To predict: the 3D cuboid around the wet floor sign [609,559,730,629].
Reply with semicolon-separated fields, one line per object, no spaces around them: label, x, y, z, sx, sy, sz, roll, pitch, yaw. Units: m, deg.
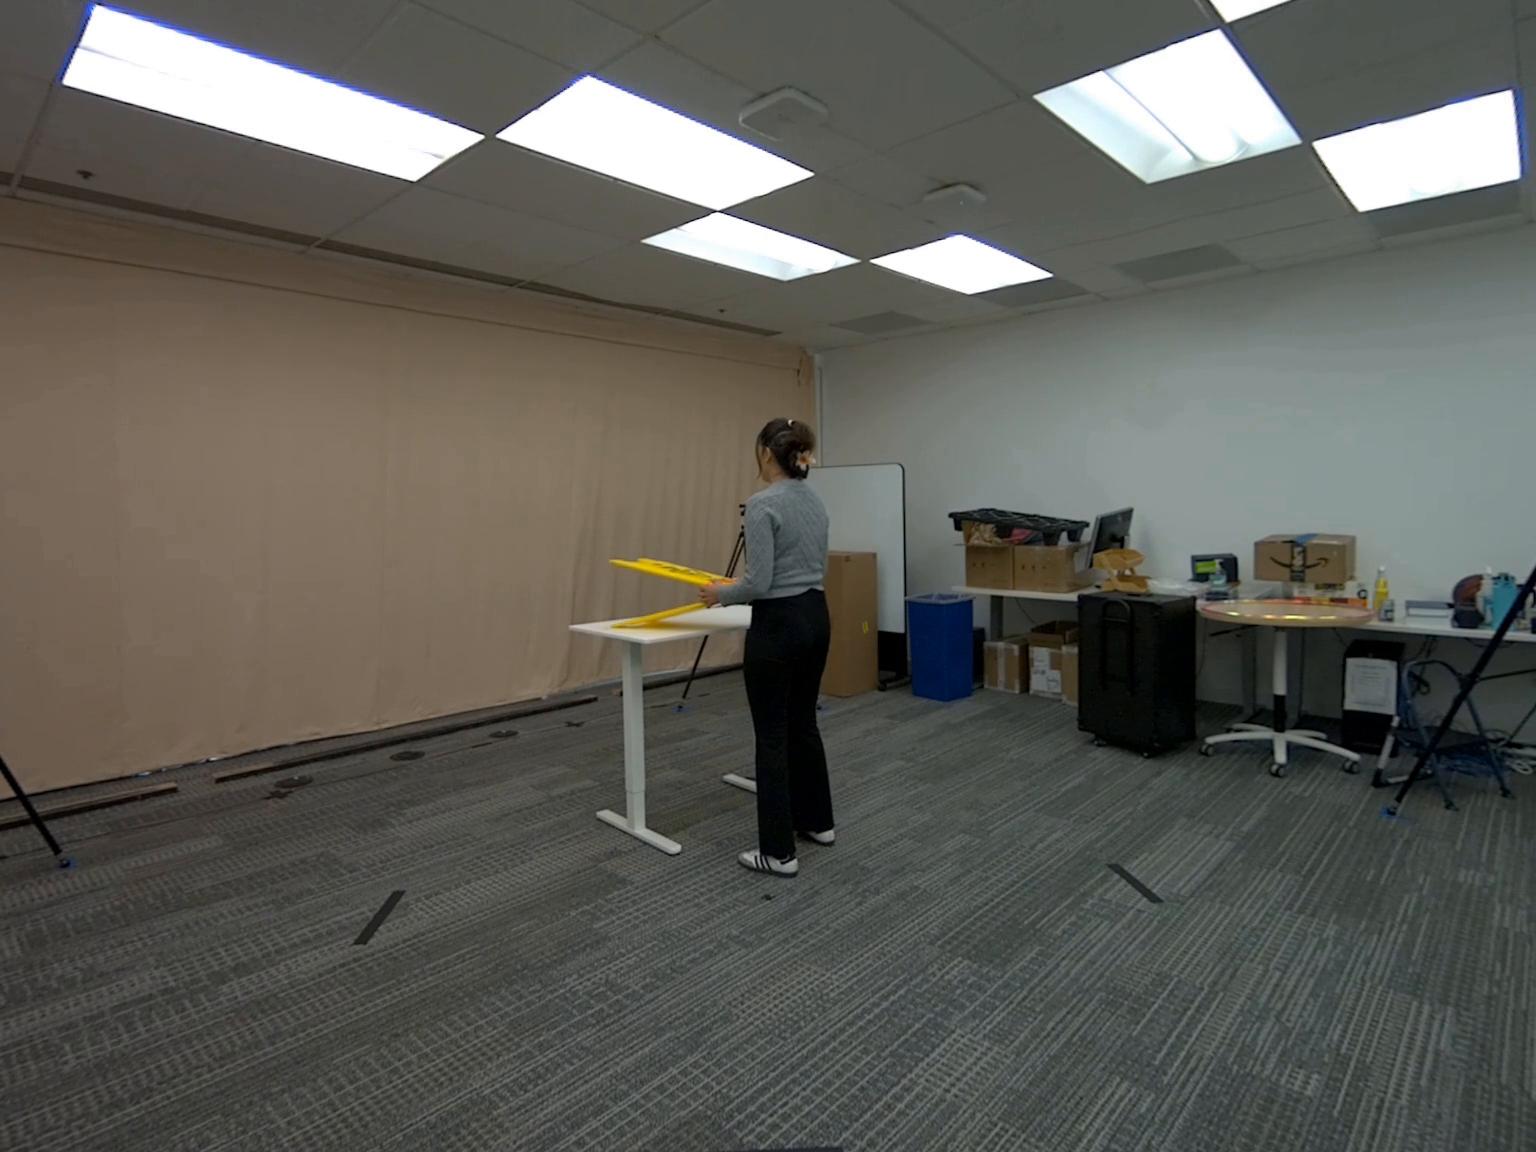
wet floor sign;-0.334;0.066;3.547;0.664;0.289;0.274;-2;1;30
